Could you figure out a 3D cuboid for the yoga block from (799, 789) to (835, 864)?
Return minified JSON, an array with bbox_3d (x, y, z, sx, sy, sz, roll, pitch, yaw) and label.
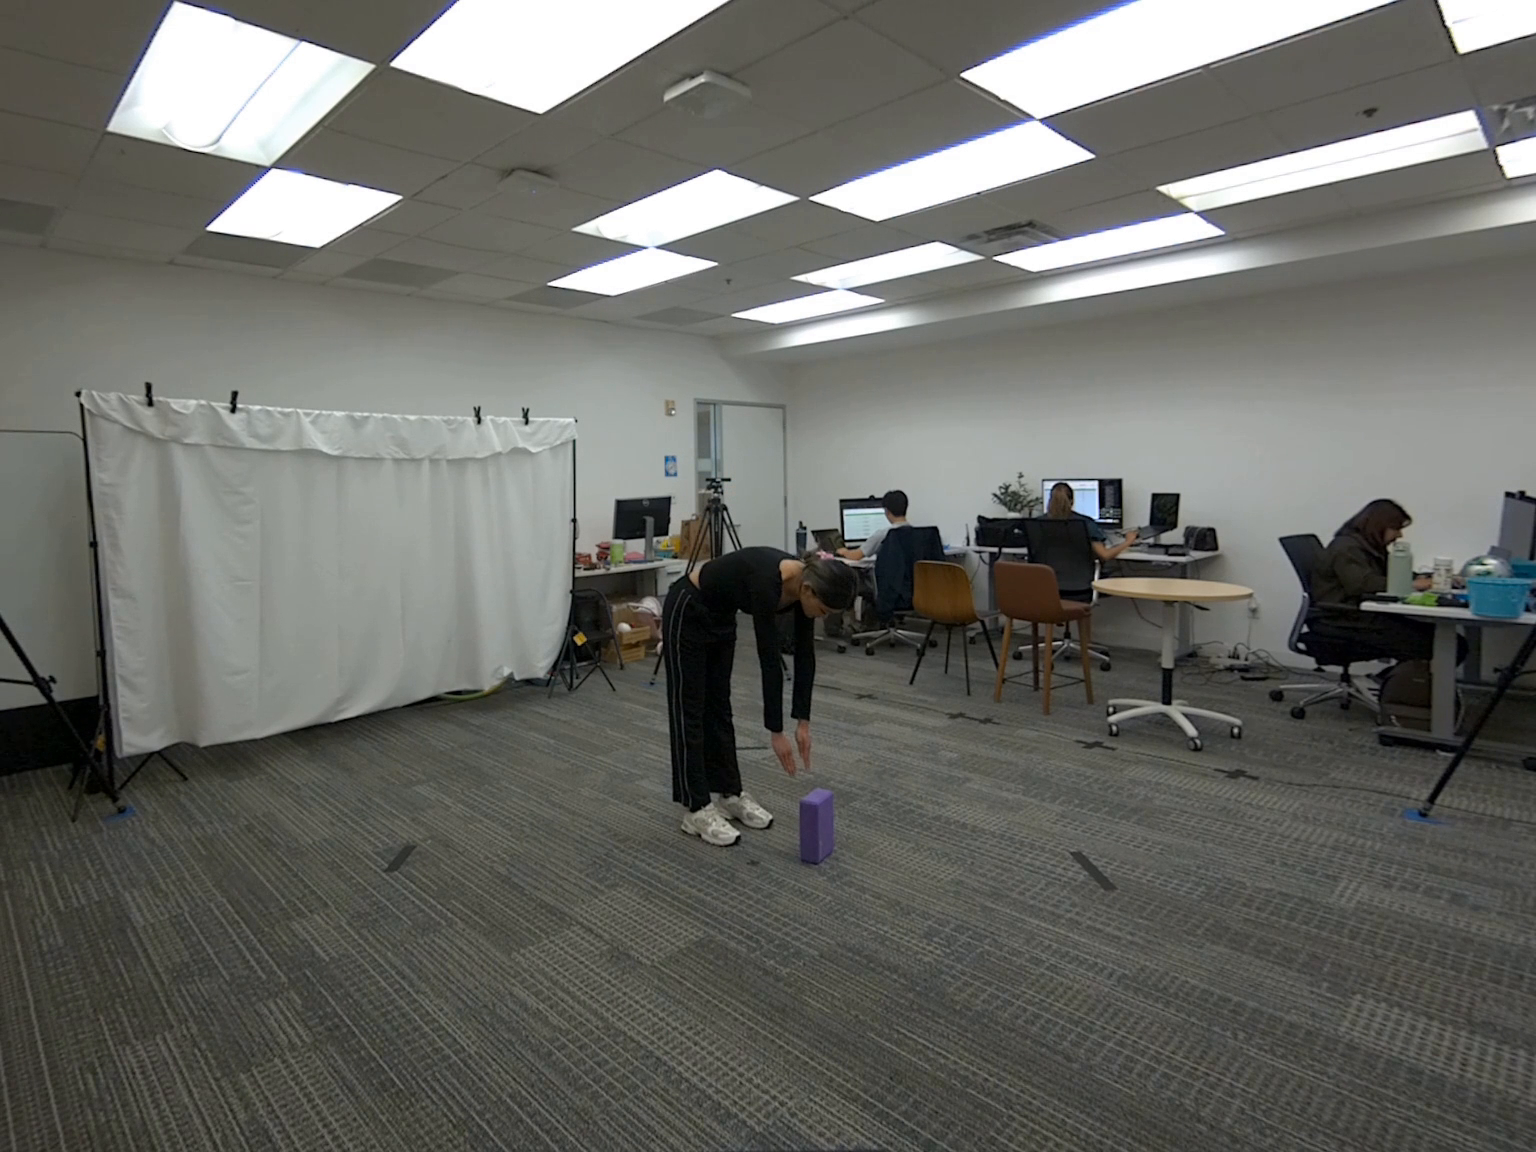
[{"bbox_3d":[0.183,0.918,3.148,0.078,0.228,0.146,1,4,28],"label":"yoga block"}]
